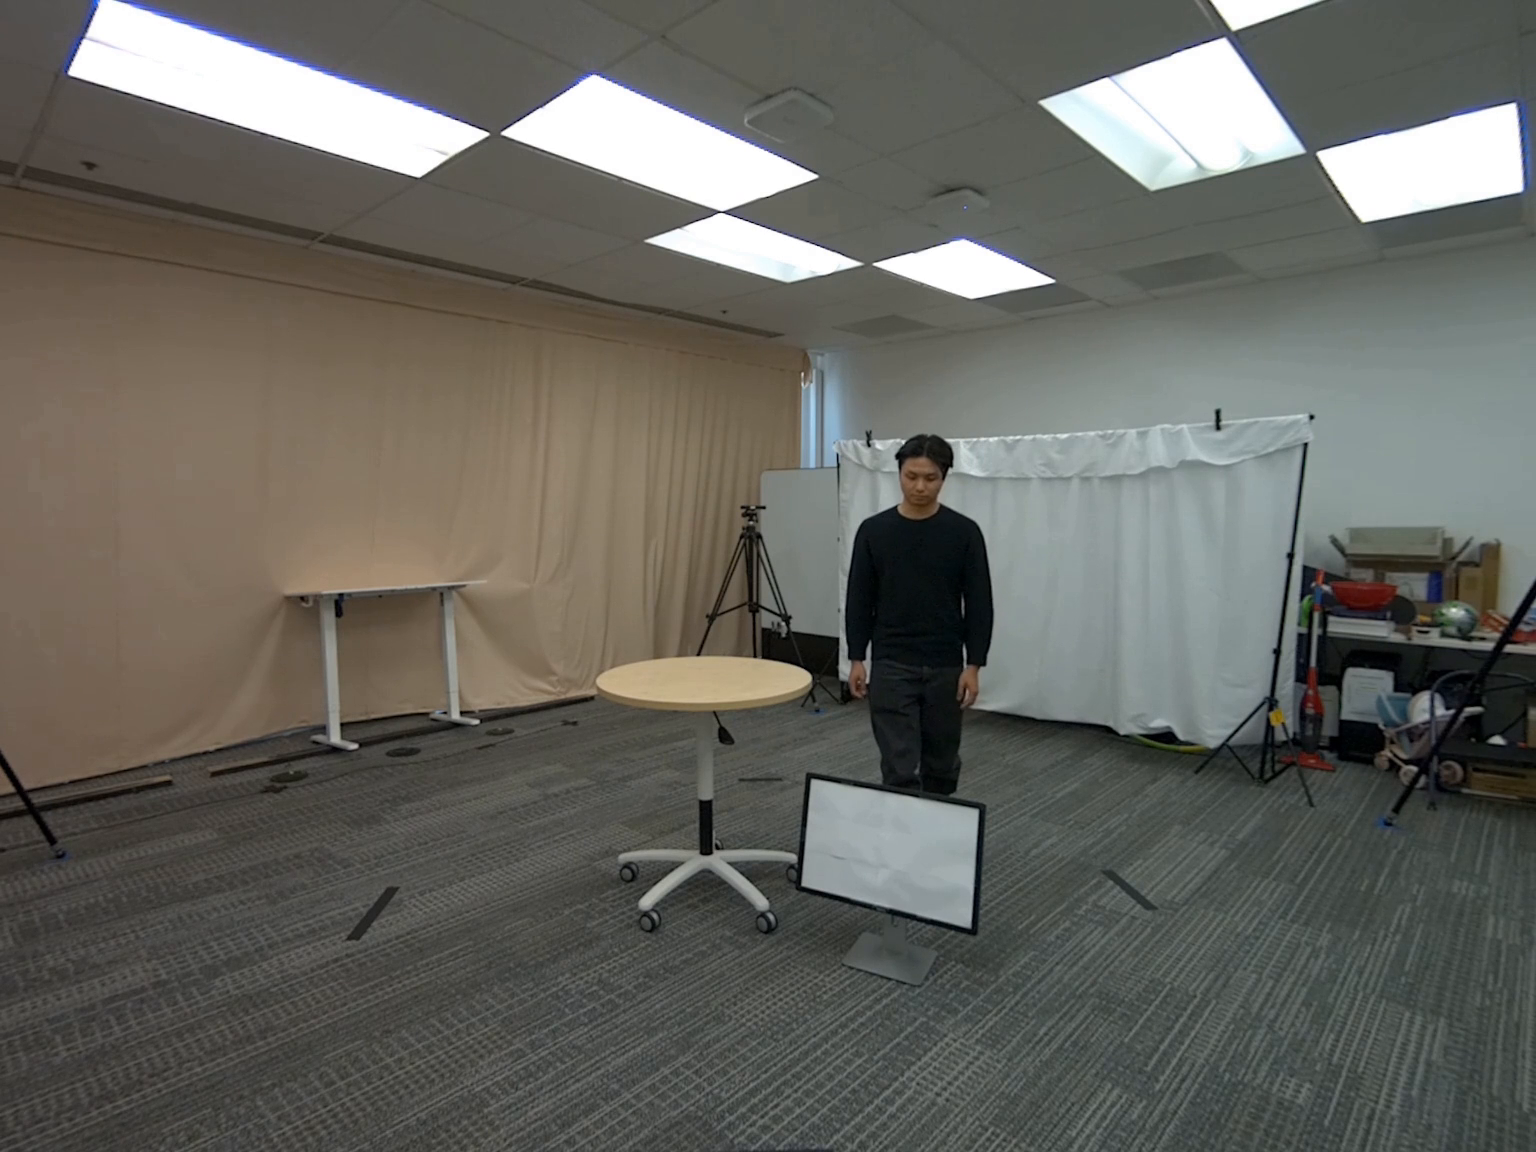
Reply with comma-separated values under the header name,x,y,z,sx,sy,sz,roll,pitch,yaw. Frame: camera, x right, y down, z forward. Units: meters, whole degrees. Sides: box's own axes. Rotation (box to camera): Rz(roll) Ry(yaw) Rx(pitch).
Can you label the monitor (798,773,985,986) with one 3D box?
name,x,y,z,sx,sy,sz,roll,pitch,yaw
monitor,0.378,0.912,2.561,0.554,0.521,0.182,2,5,28
